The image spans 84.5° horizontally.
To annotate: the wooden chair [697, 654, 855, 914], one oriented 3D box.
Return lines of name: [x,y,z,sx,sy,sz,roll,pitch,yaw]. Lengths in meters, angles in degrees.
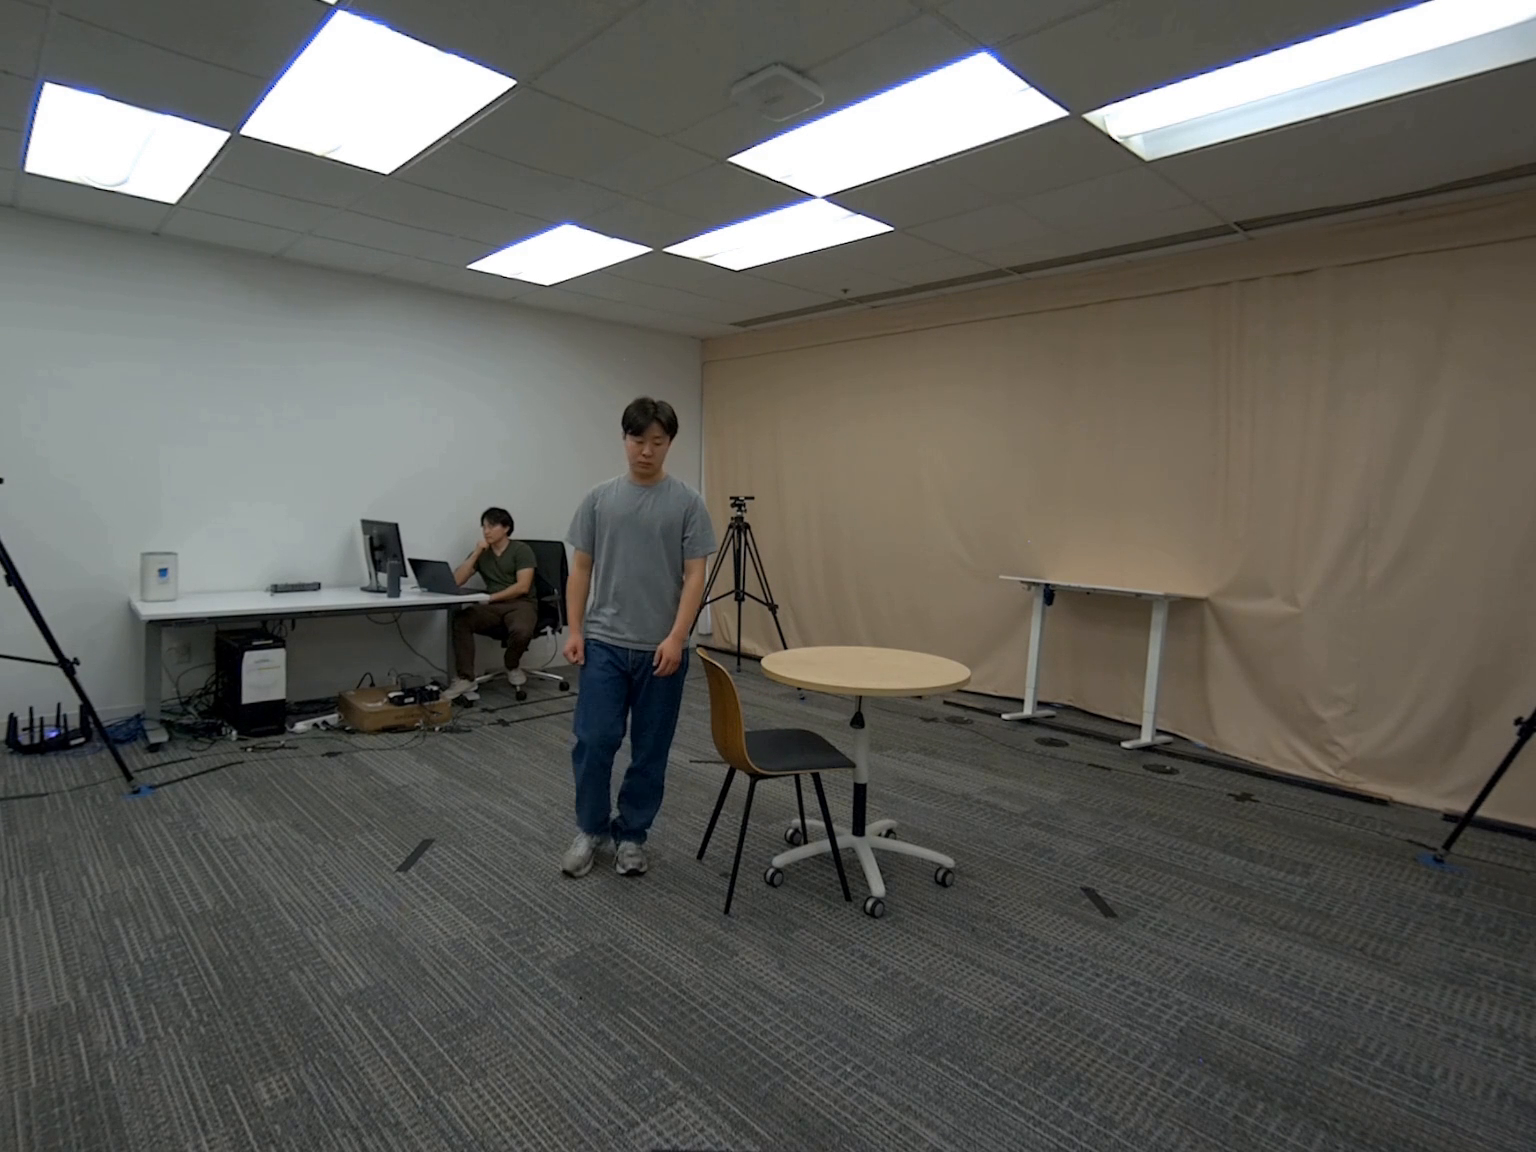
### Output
wooden chair: [0.015,0.683,3.045,0.517,0.874,0.485,-4,5,-16]
